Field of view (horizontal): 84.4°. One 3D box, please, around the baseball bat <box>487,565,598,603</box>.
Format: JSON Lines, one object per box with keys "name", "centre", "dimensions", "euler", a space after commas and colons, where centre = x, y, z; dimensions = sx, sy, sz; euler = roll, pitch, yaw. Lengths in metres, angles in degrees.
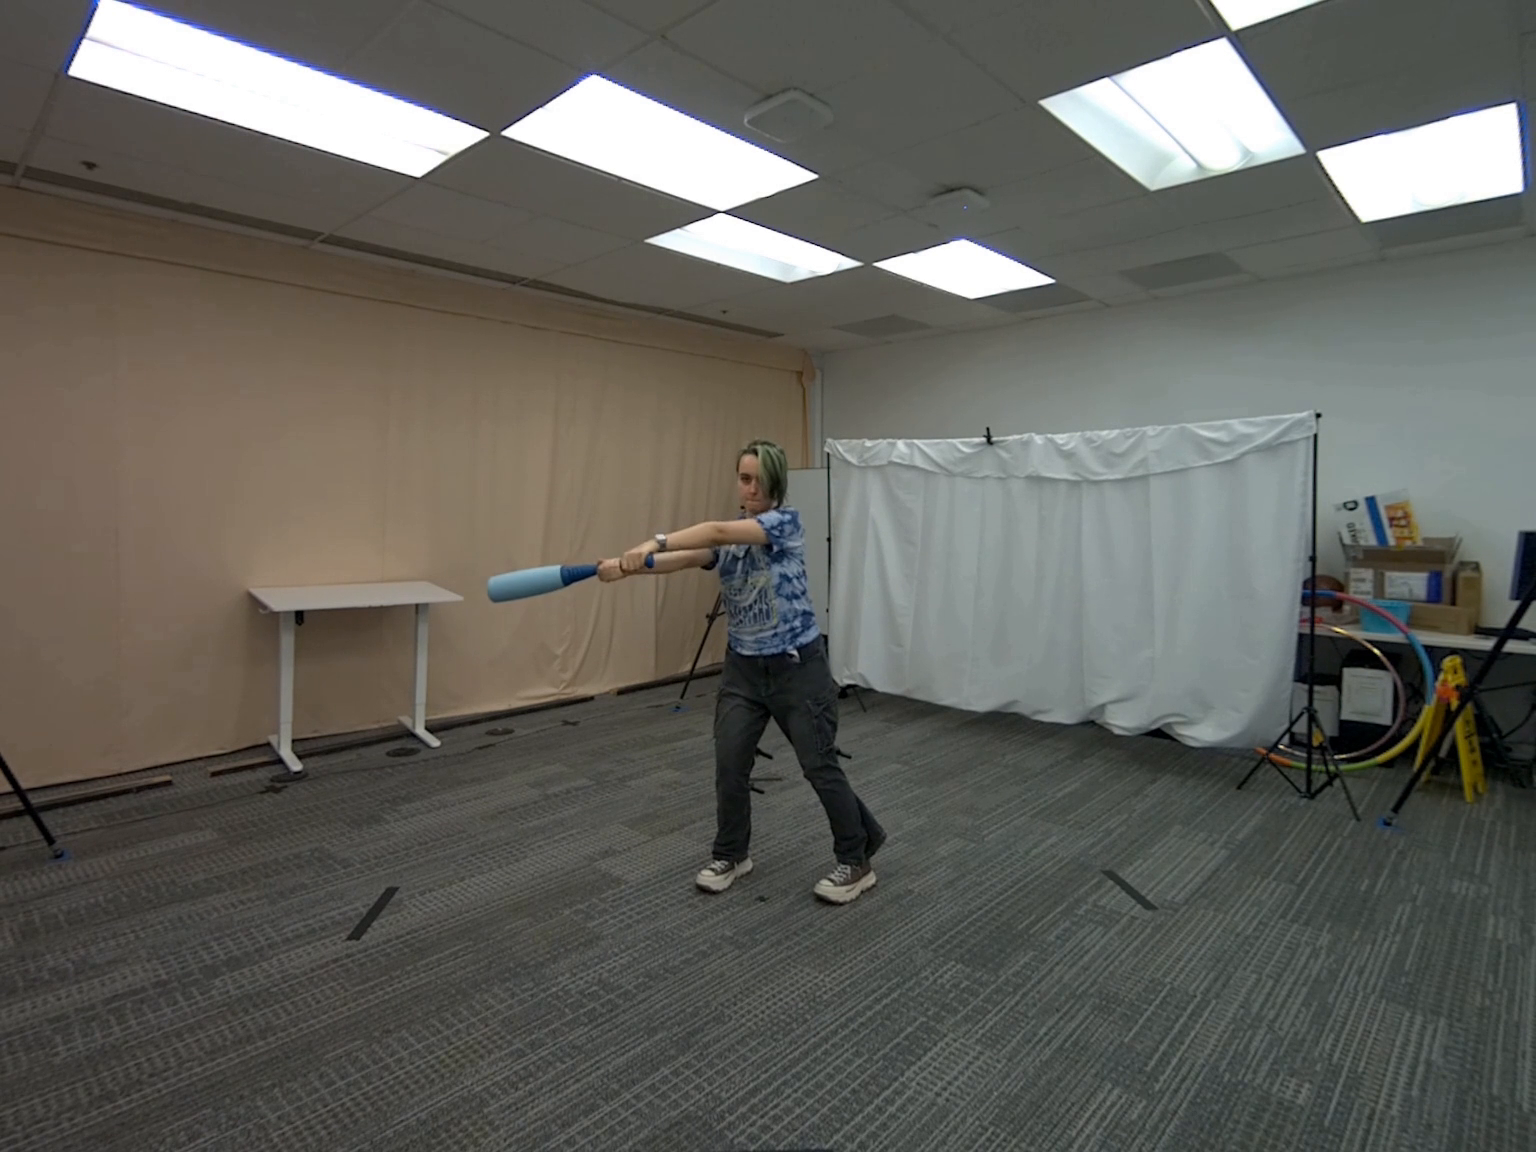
{"name": "baseball bat", "centre": [-0.607, -0.007, 2.649], "dimensions": [0.547, 0.089, 0.088], "euler": [-11, 3, 7]}
